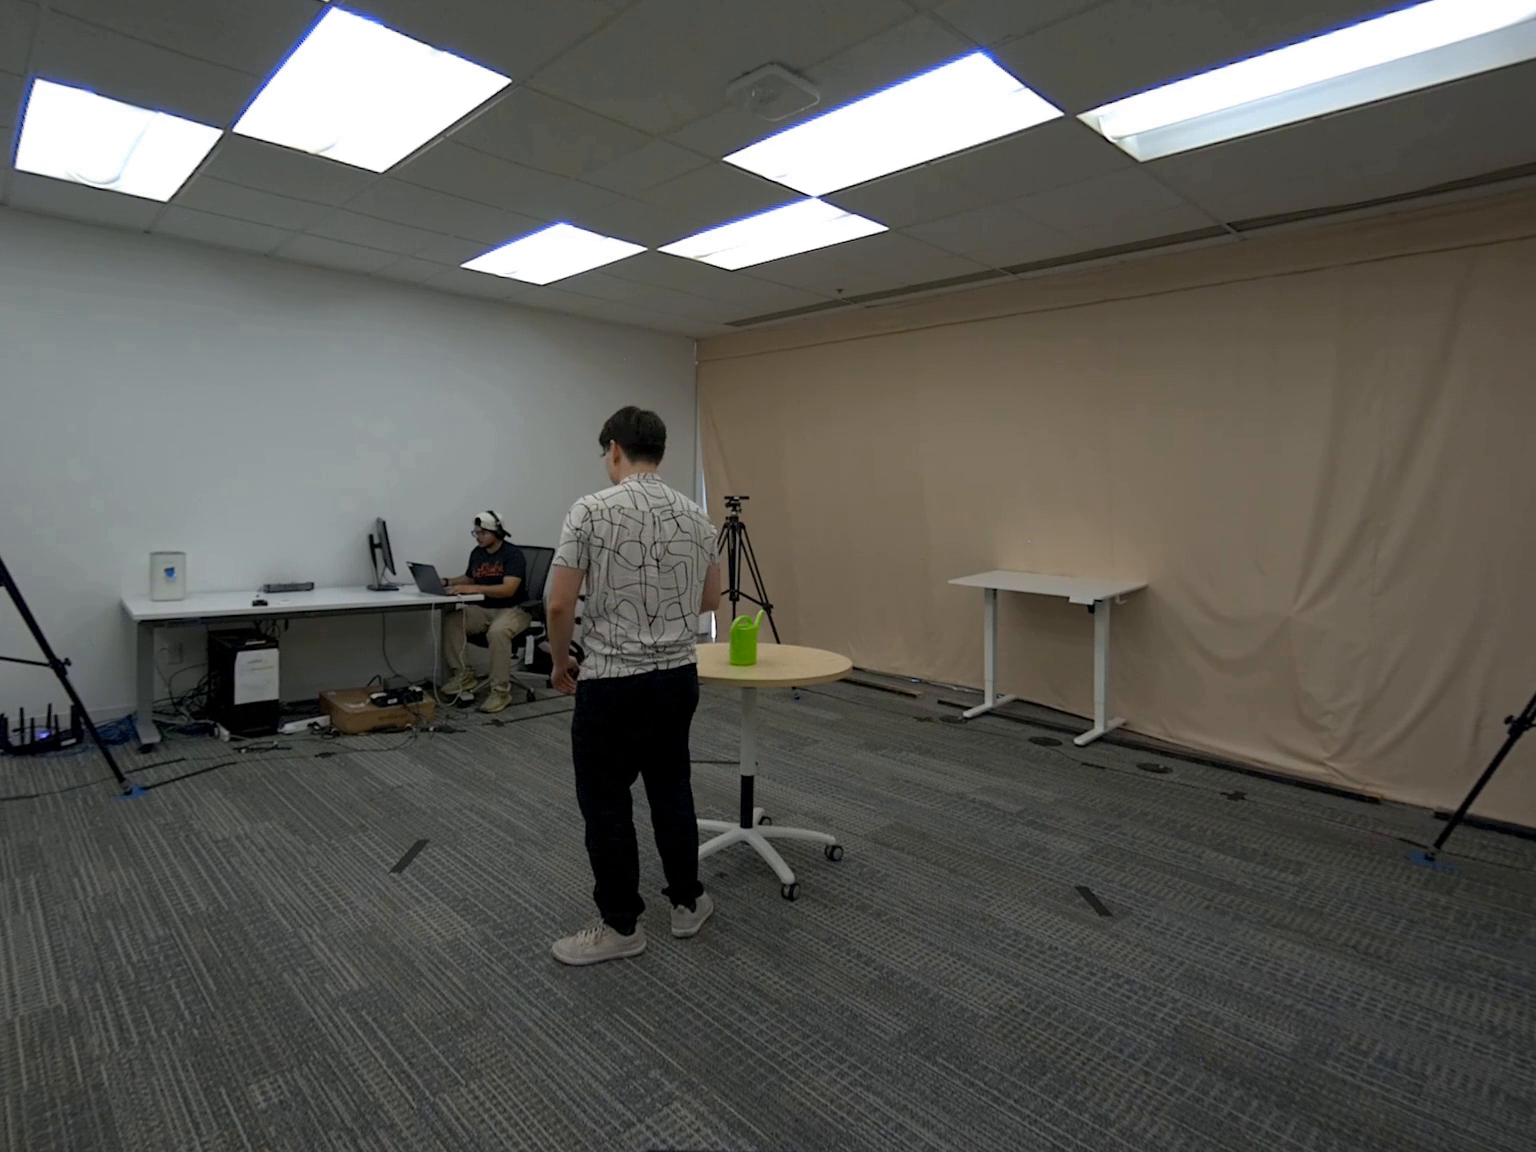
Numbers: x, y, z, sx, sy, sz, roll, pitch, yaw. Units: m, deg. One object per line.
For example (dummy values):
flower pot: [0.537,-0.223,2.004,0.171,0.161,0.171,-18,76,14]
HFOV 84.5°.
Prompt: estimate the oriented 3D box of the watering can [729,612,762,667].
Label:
watering can: [-0.074,0.231,3.126,0.100,0.176,0.273,5,7,32]
